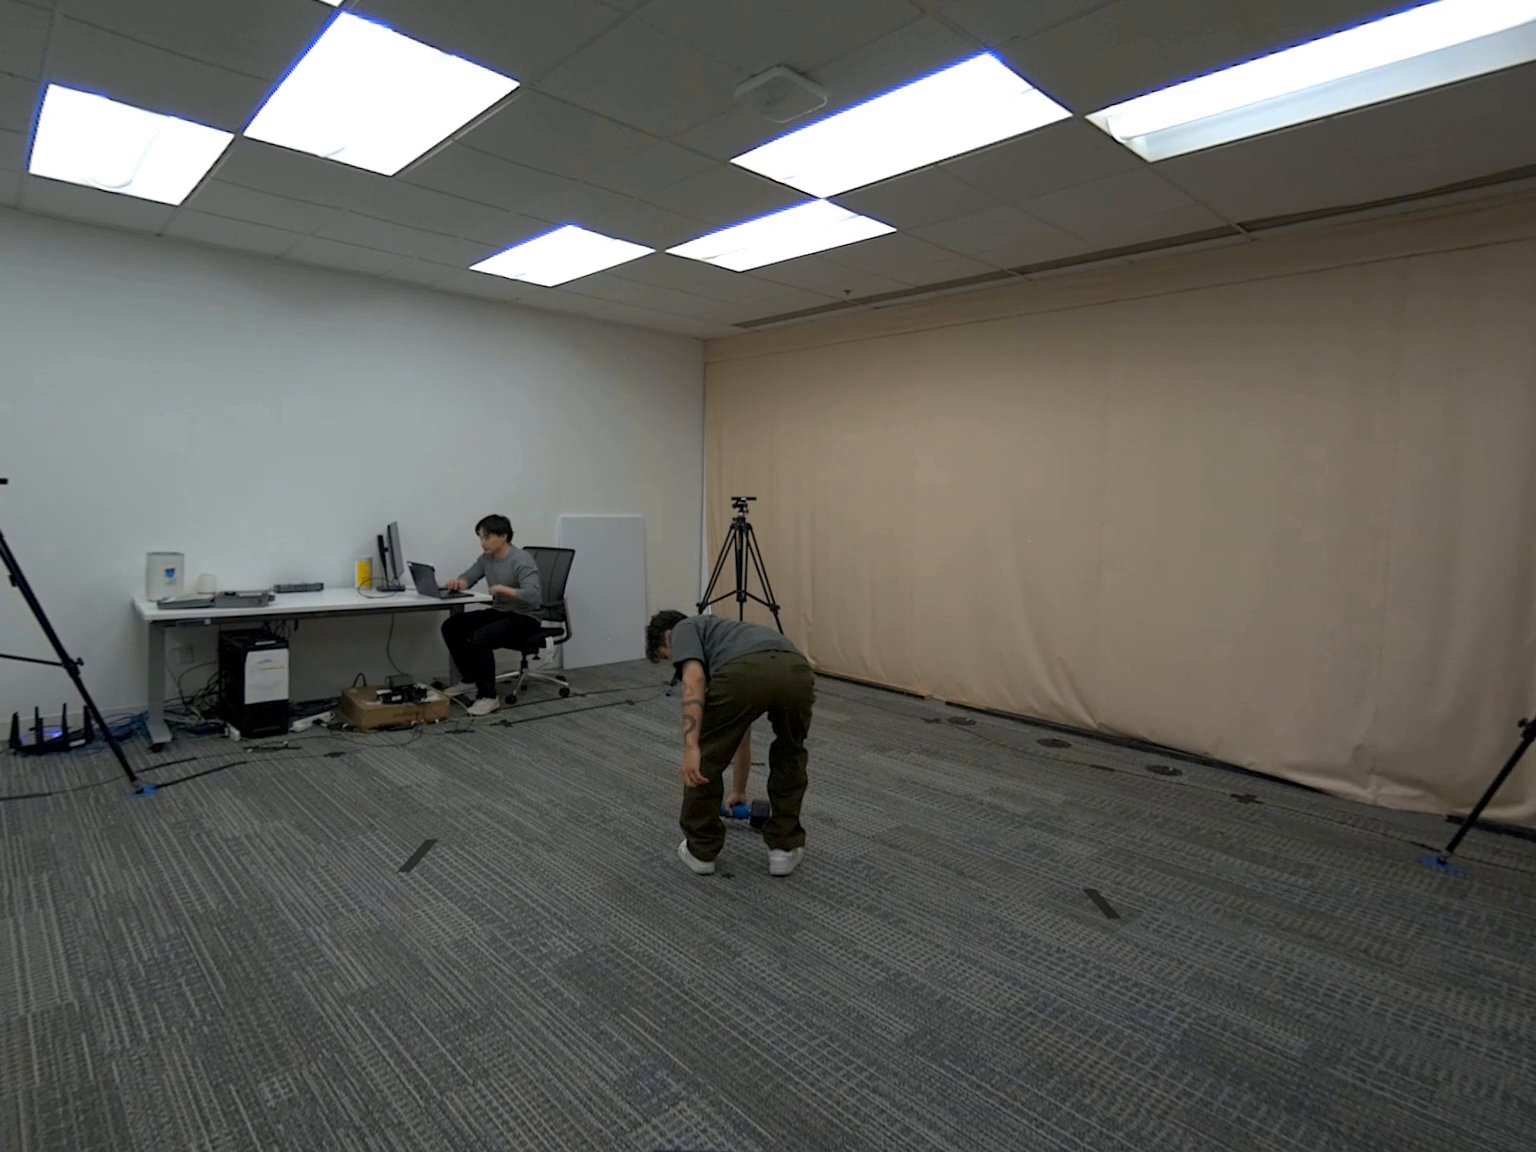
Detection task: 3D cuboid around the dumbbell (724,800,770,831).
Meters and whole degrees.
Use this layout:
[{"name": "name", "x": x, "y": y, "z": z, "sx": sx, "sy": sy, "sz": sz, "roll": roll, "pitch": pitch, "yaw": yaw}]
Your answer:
[{"name": "dumbbell", "x": -0.142, "y": 0.991, "z": 3.556, "sx": 0.295, "sy": 0.125, "sz": 0.106, "roll": 4, "pitch": -37, "yaw": 4}]
